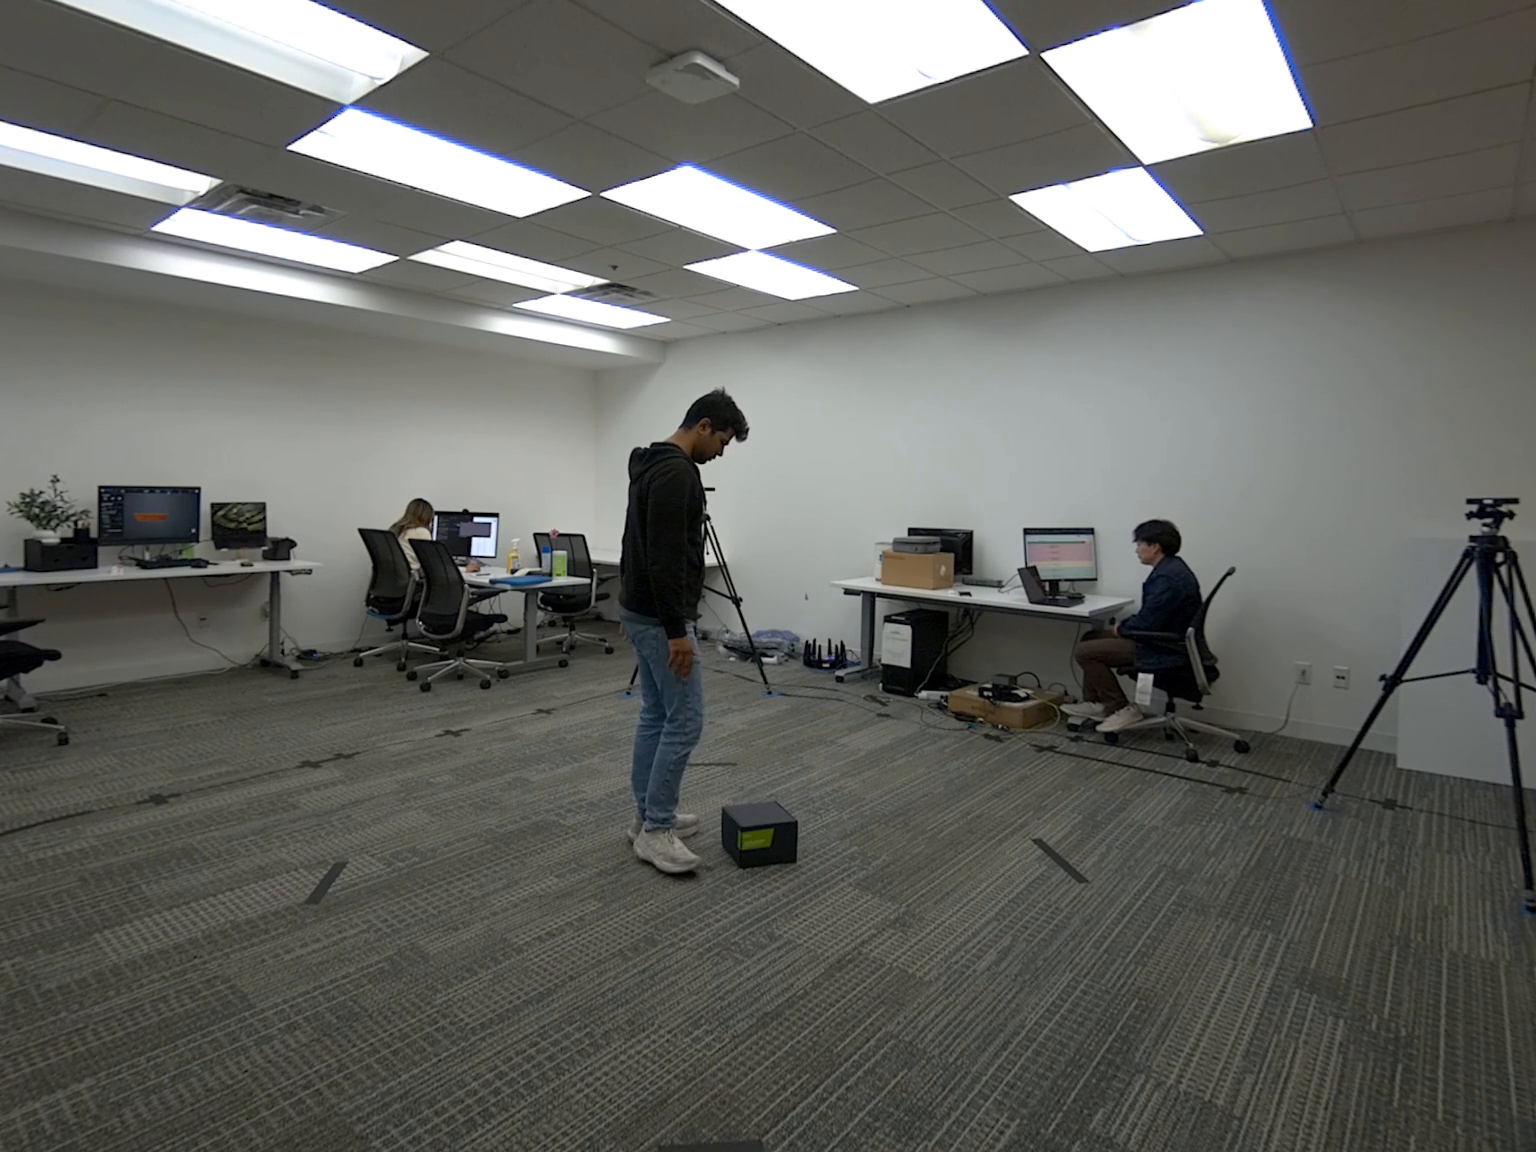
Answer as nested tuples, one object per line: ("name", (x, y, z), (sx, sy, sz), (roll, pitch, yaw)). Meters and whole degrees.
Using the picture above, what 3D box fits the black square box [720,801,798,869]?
("black square box", (-0.051, 0.972, 3.242), (0.223, 0.155, 0.222), (-1, 6, -22))
